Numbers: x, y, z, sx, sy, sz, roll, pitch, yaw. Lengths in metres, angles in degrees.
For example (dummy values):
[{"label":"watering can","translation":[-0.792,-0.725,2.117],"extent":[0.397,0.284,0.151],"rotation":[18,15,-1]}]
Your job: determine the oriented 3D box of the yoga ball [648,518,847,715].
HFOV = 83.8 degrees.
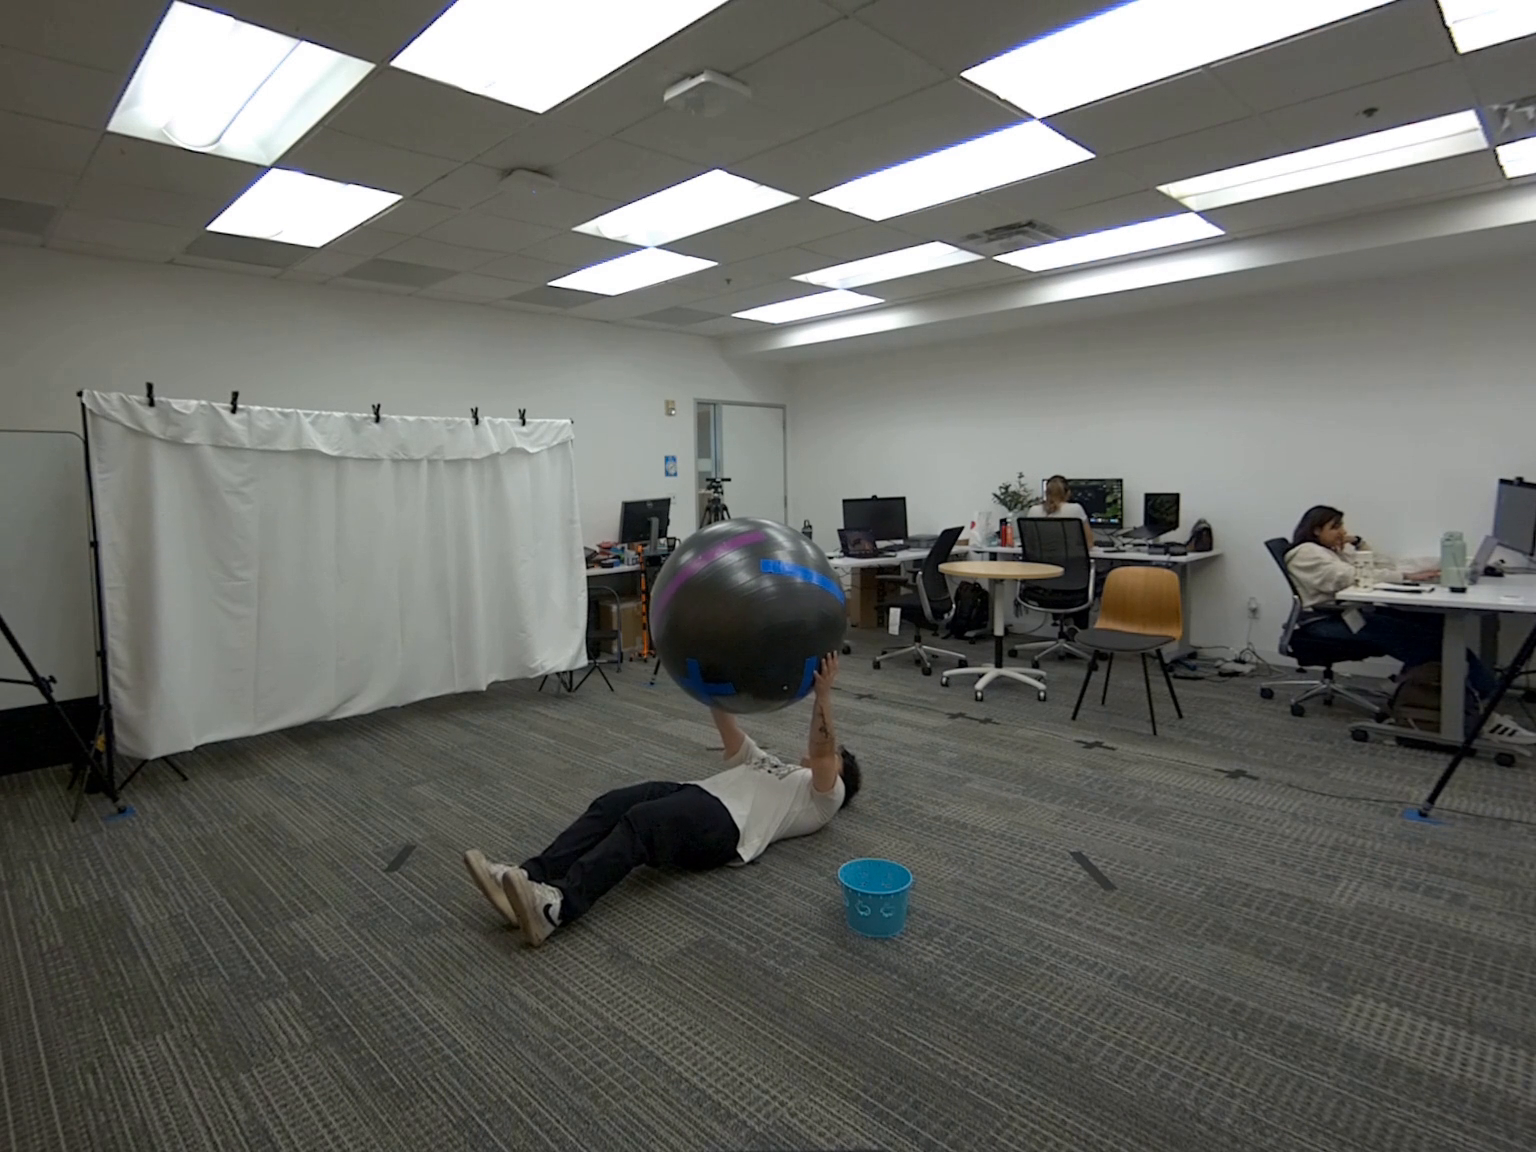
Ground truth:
[{"label":"yoga ball","translation":[-0.078,0.154,3.310],"extent":[0.757,0.755,0.762],"rotation":[-1,5,-2]}]
